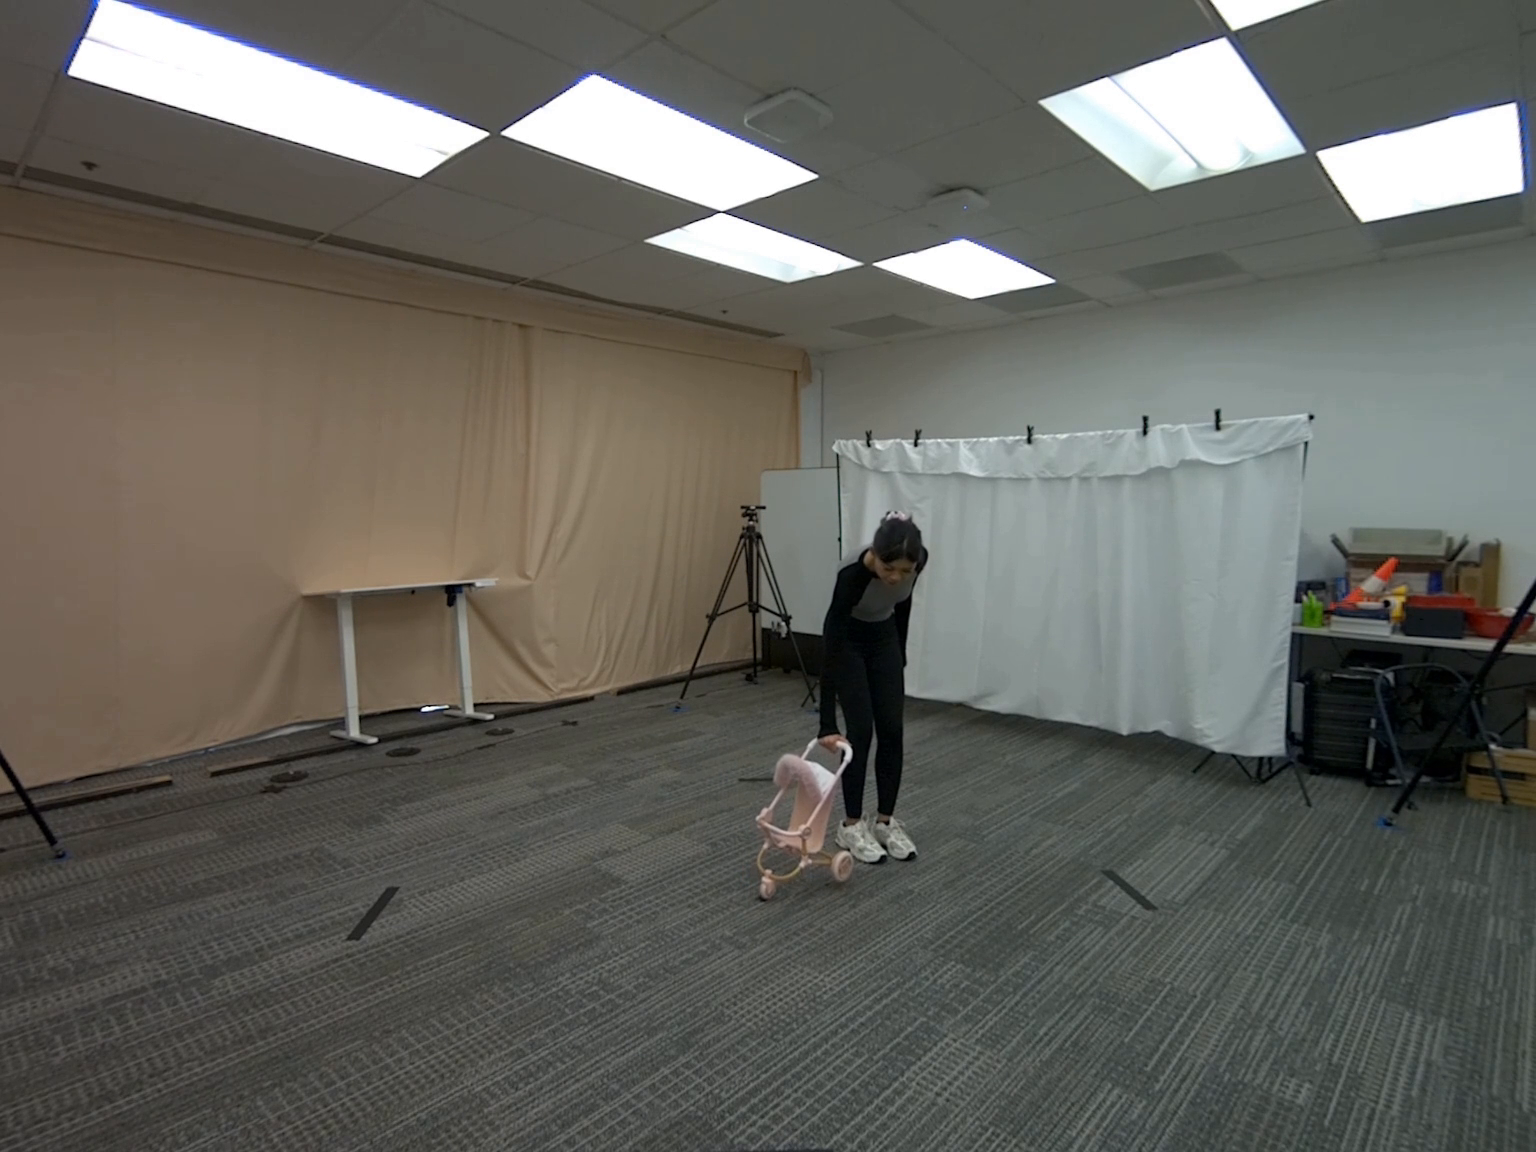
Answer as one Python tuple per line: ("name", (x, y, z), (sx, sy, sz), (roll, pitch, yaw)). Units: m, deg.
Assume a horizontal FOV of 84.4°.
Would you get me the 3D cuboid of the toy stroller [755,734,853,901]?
("toy stroller", (0.115, 0.876, 3.056), (0.330, 0.534, 0.291), (3, 4, -38))
